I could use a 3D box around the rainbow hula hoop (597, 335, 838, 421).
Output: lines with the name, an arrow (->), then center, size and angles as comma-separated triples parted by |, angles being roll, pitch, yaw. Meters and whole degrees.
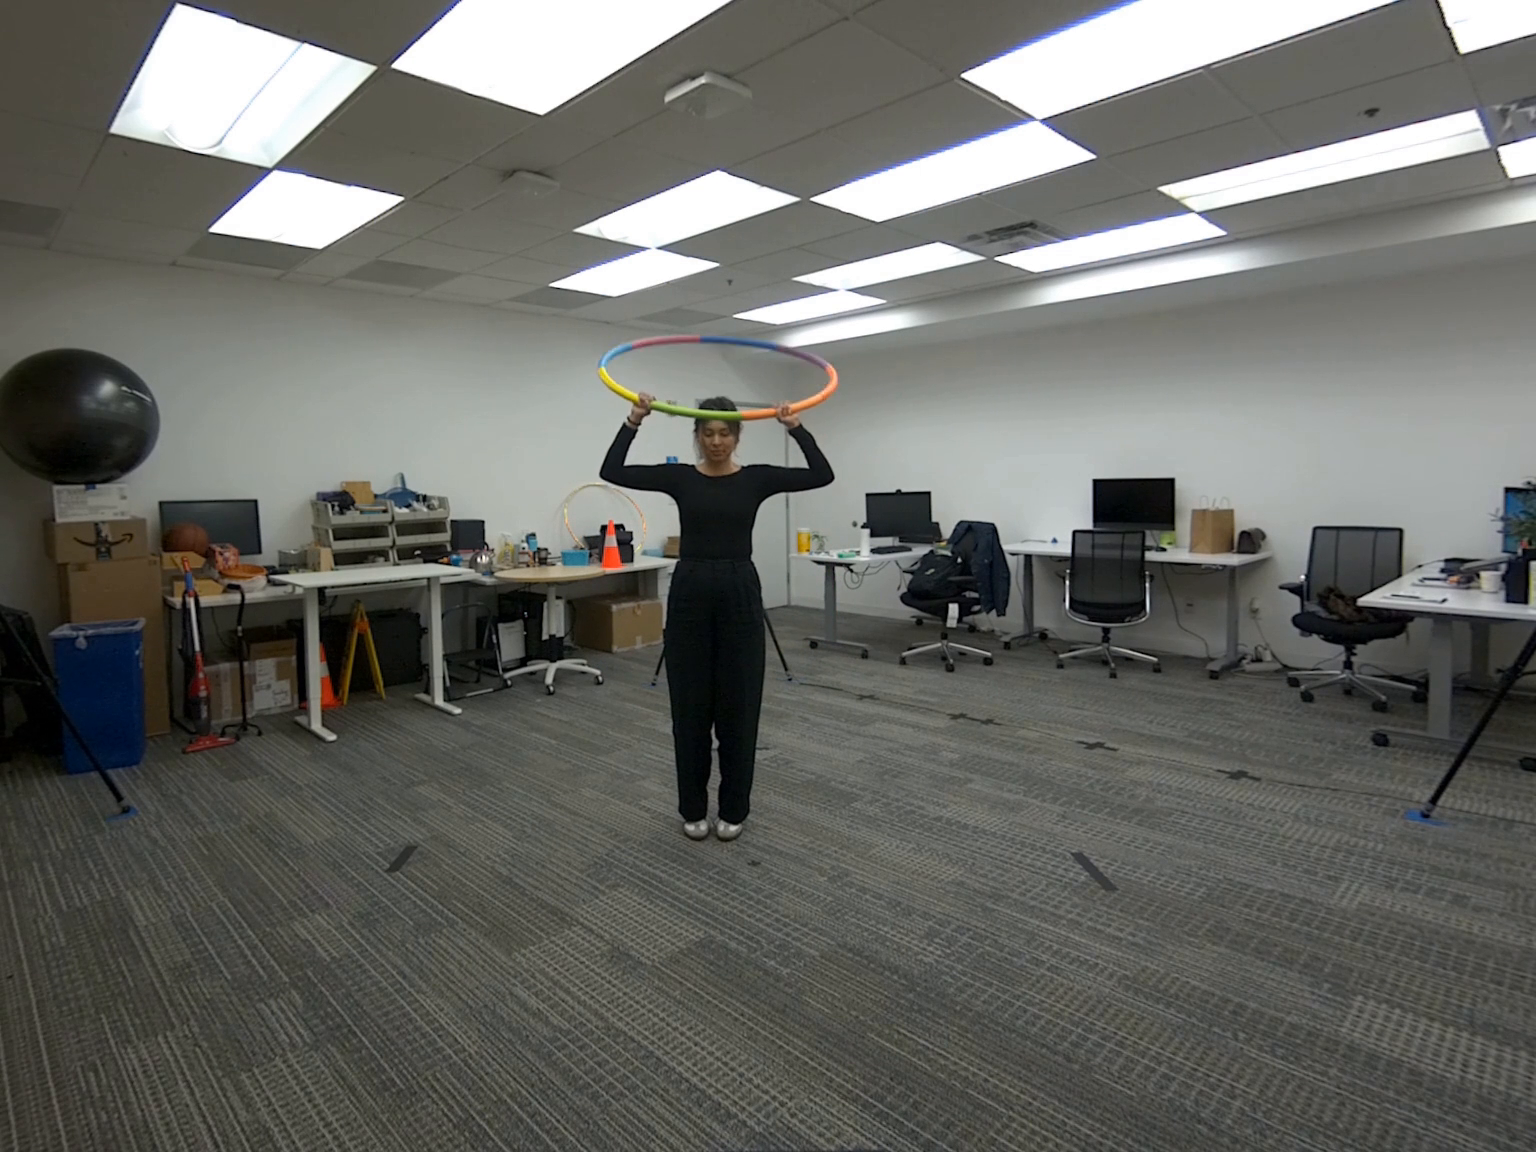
rainbow hula hoop -> -0.208, -0.823, 3.526 | 0.977, 0.035, 1.002 | 2, 31, -3
